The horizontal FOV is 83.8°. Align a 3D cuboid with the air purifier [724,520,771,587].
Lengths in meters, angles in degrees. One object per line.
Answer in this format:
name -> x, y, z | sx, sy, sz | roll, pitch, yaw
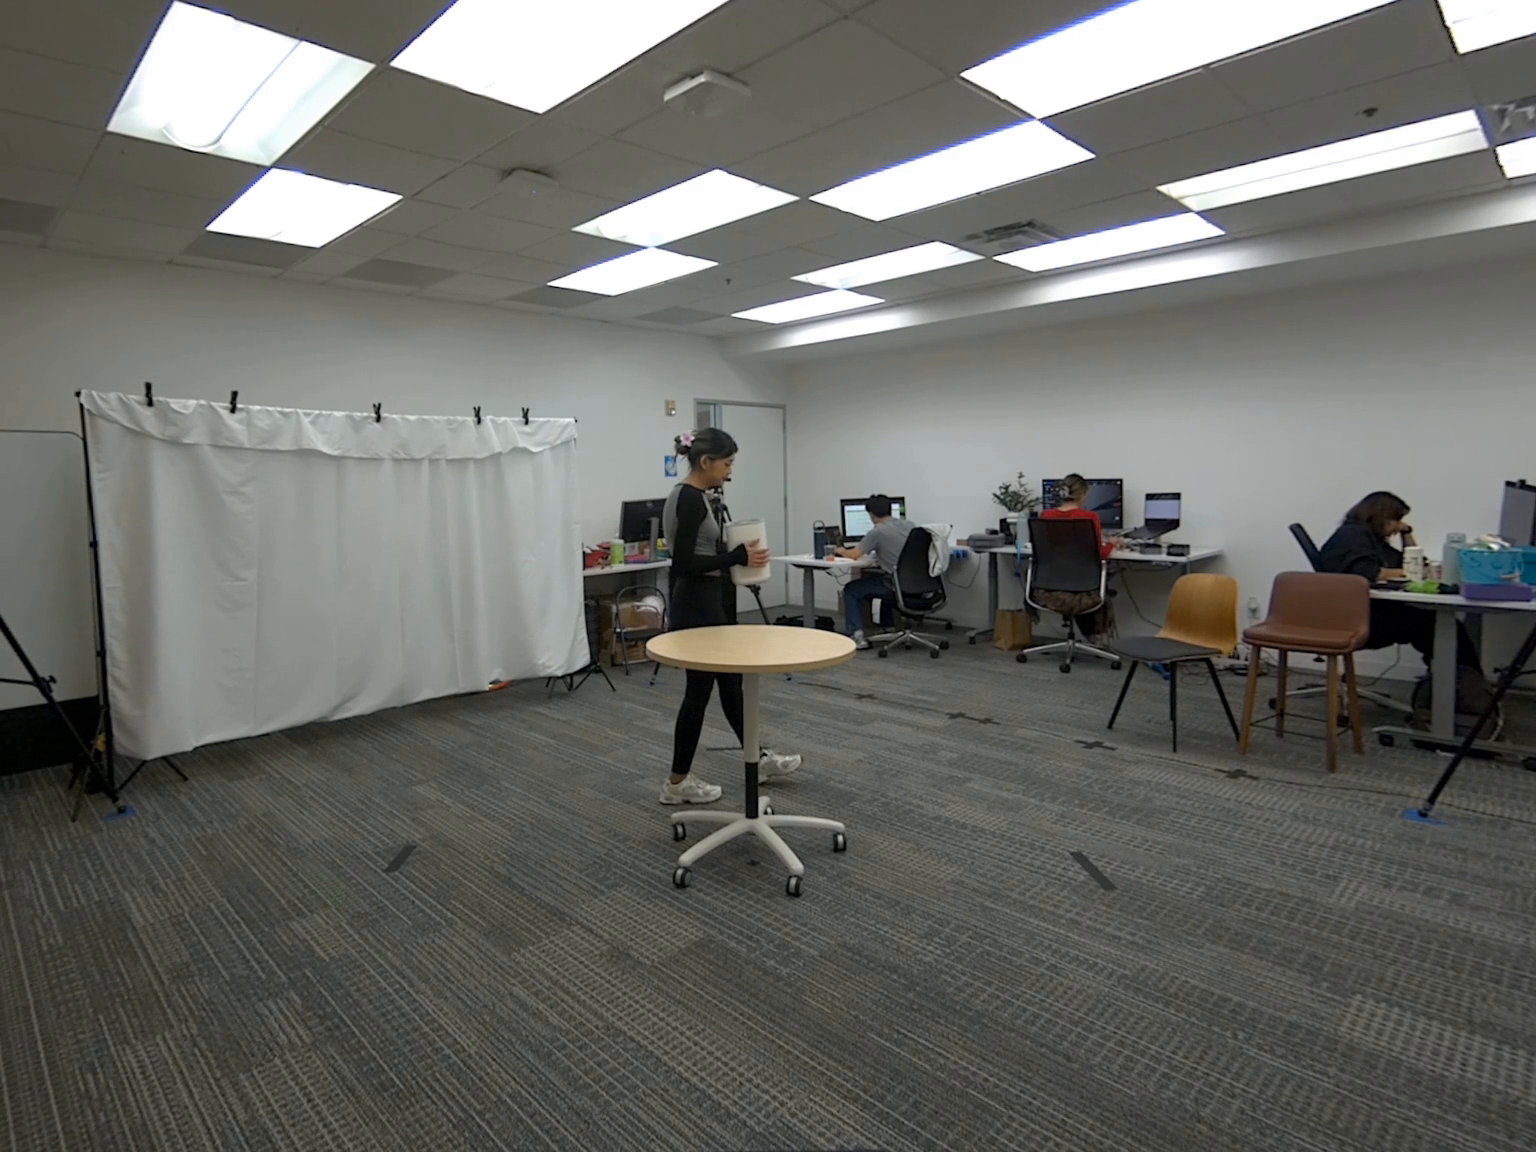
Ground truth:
air purifier -> -0.091, -0.101, 3.680 | 0.172, 0.264, 0.172 | -8, 5, 0
